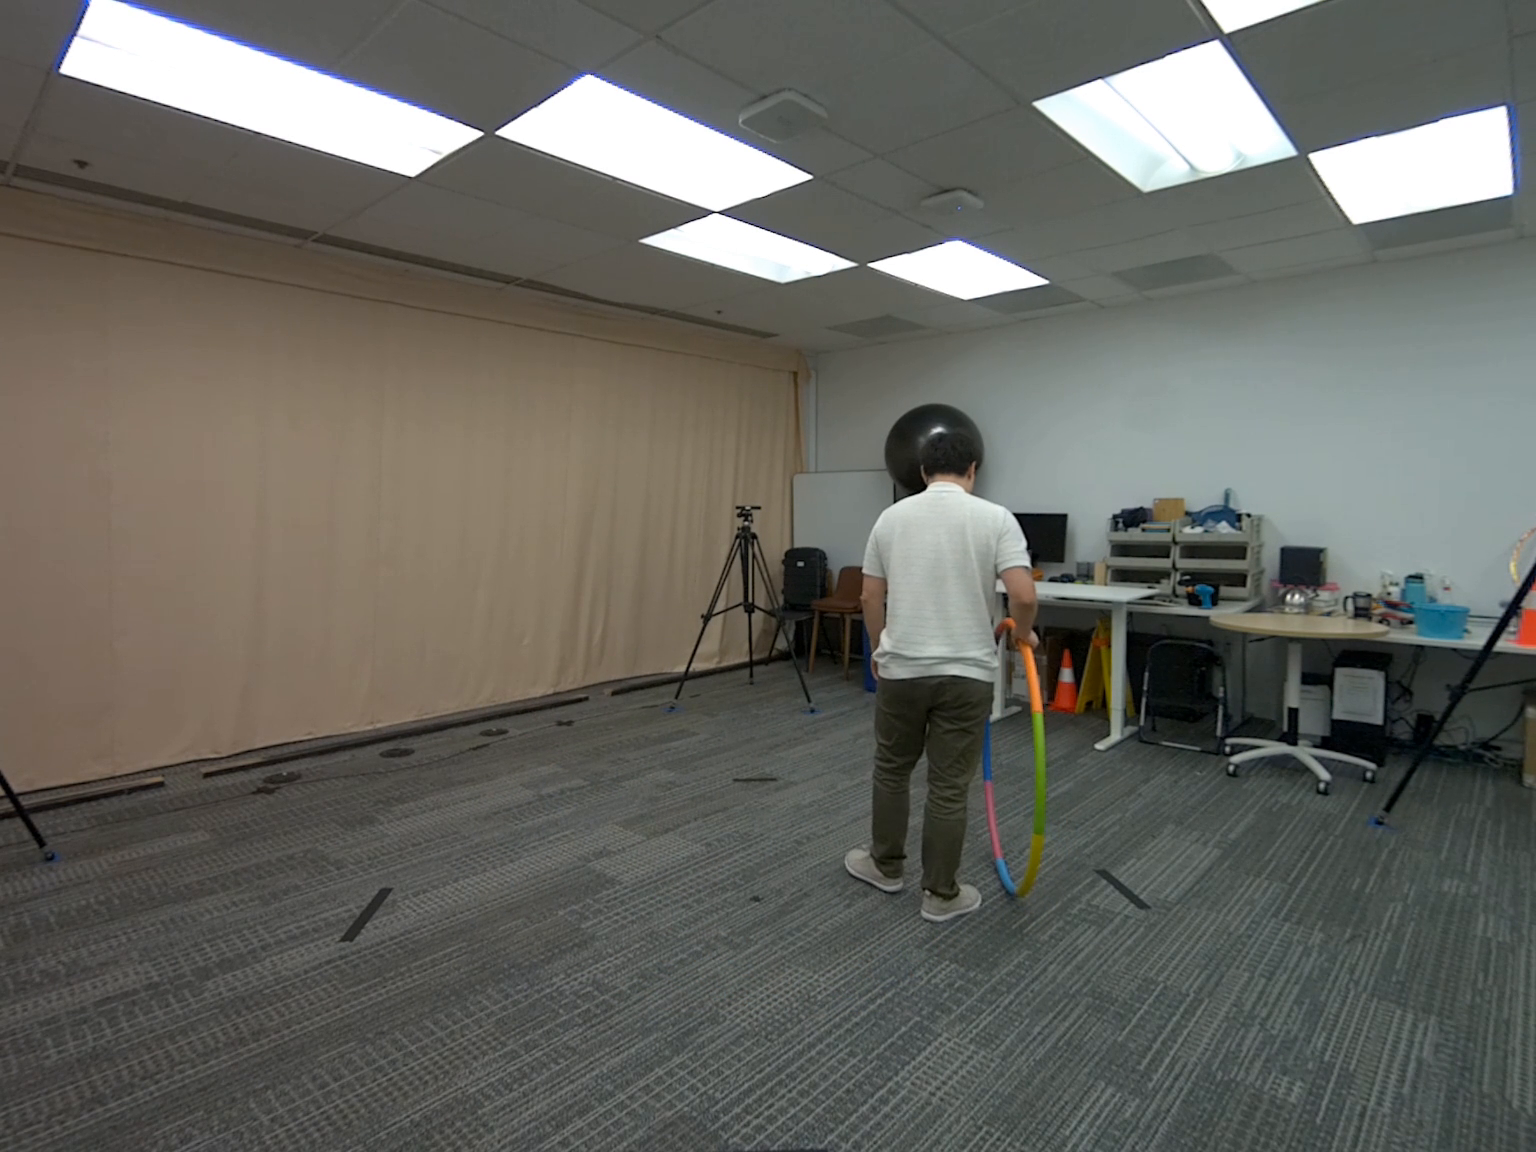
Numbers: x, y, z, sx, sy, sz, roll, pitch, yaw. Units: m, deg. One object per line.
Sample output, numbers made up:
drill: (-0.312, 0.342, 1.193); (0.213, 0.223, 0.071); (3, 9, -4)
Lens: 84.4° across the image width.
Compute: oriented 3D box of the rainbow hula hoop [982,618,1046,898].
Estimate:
rainbow hula hoop: (0.893, 0.647, 3.093); (0.036, 0.976, 0.975); (1, 4, 4)
